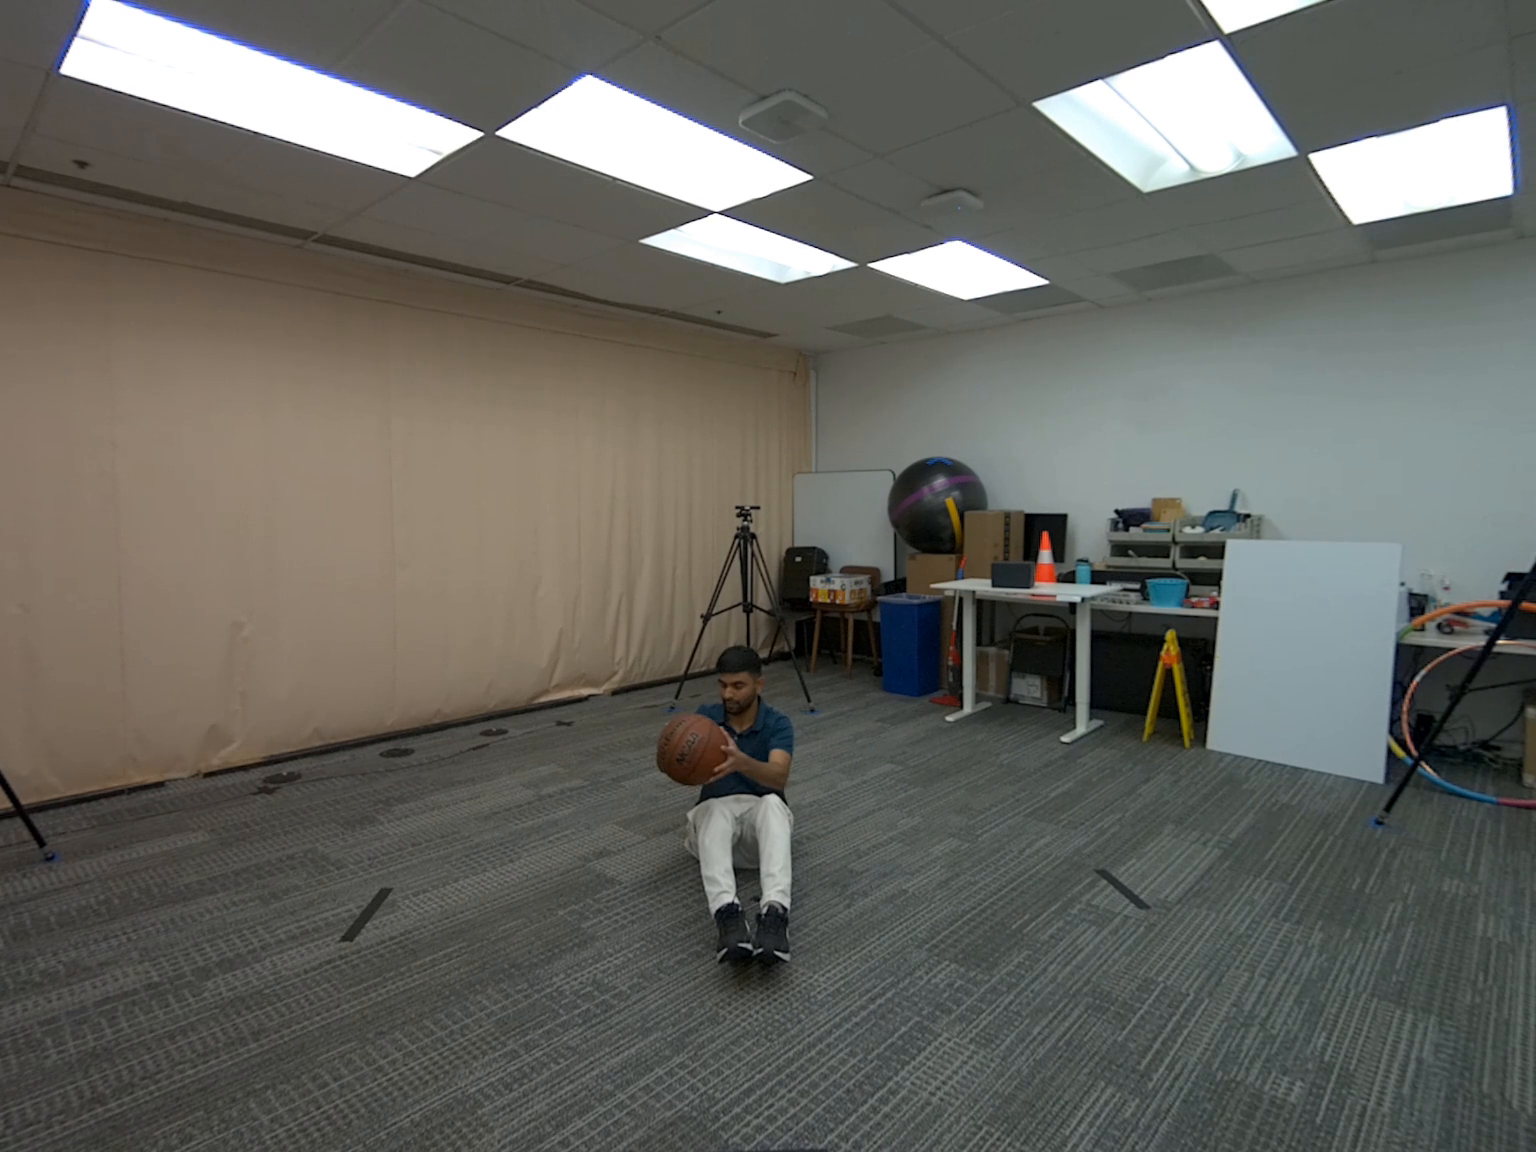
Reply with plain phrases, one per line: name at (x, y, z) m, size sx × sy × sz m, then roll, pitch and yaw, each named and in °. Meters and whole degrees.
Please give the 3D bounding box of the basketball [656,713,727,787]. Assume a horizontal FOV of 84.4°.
basketball at (-0.224, 0.591, 2.862) m, size 0.236 × 0.235 × 0.237 m, roll 0°, pitch 4°, yaw -2°
